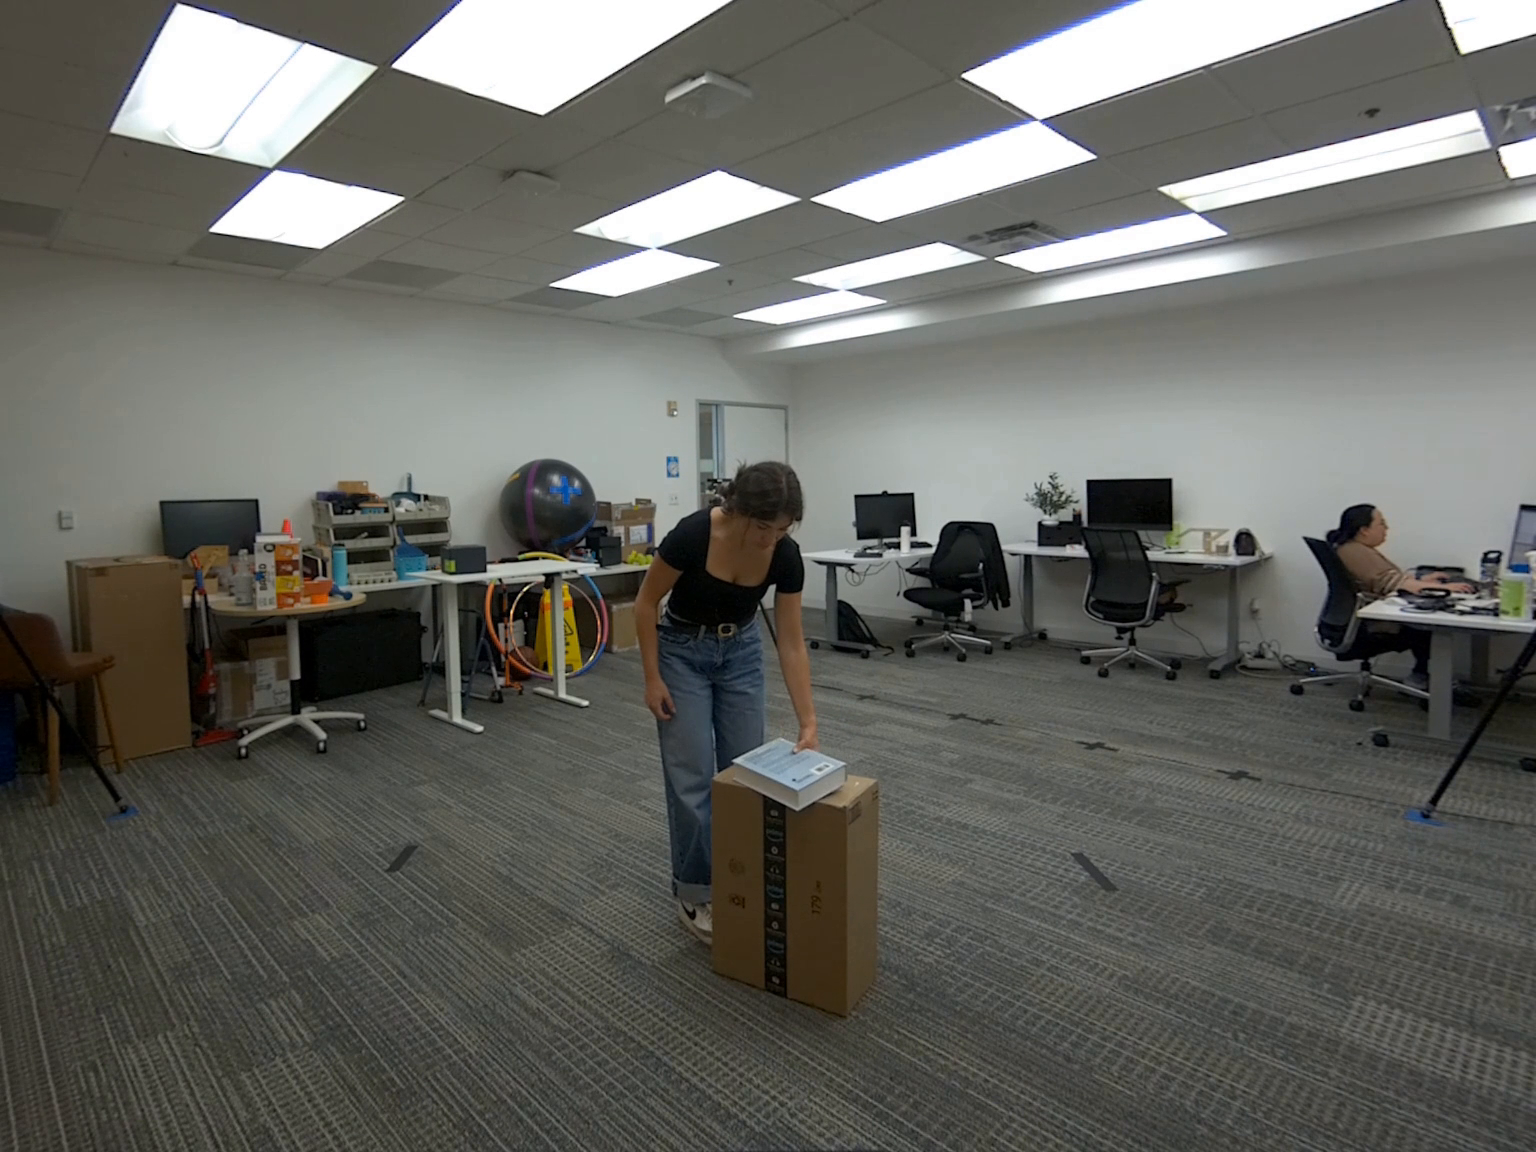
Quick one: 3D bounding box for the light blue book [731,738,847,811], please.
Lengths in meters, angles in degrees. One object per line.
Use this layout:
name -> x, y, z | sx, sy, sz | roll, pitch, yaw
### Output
light blue book -> 0.058, 0.532, 2.320 | 0.188, 0.058, 0.269 | -20, 20, -40
